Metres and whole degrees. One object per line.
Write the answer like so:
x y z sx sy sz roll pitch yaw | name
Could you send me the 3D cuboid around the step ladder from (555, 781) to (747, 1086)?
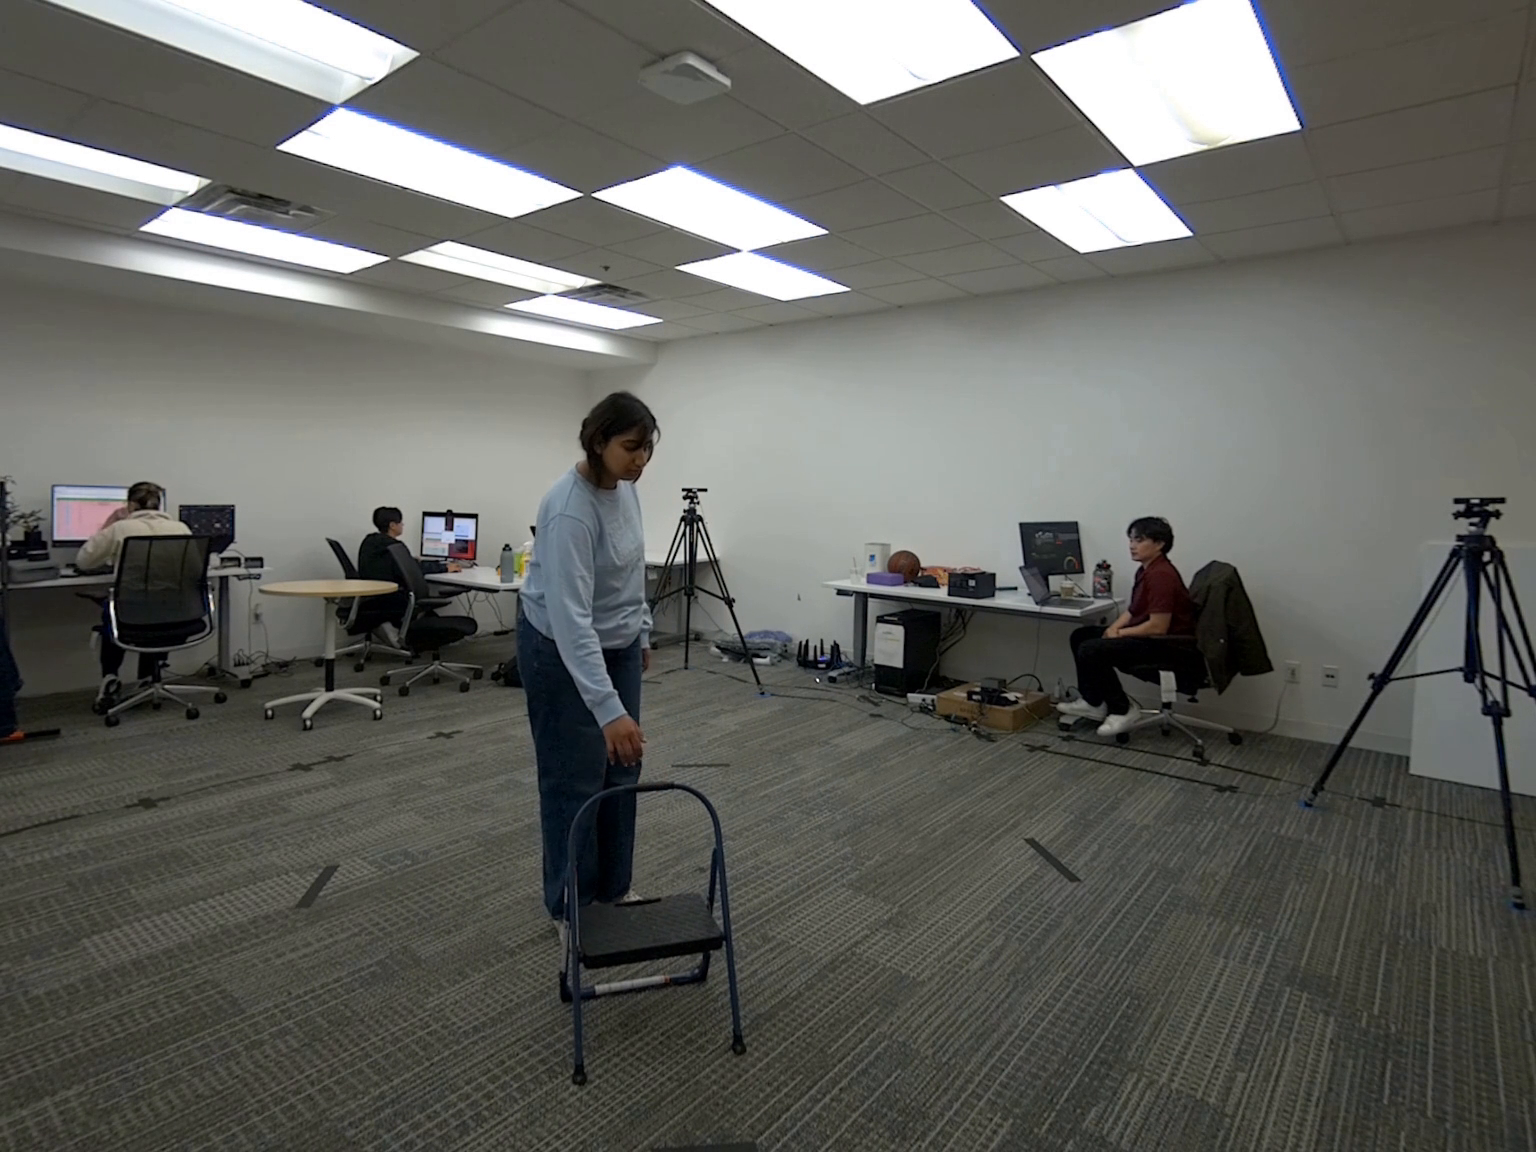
-0.312 0.857 2.192 0.423 0.604 0.357 0 4 -19 | step ladder
